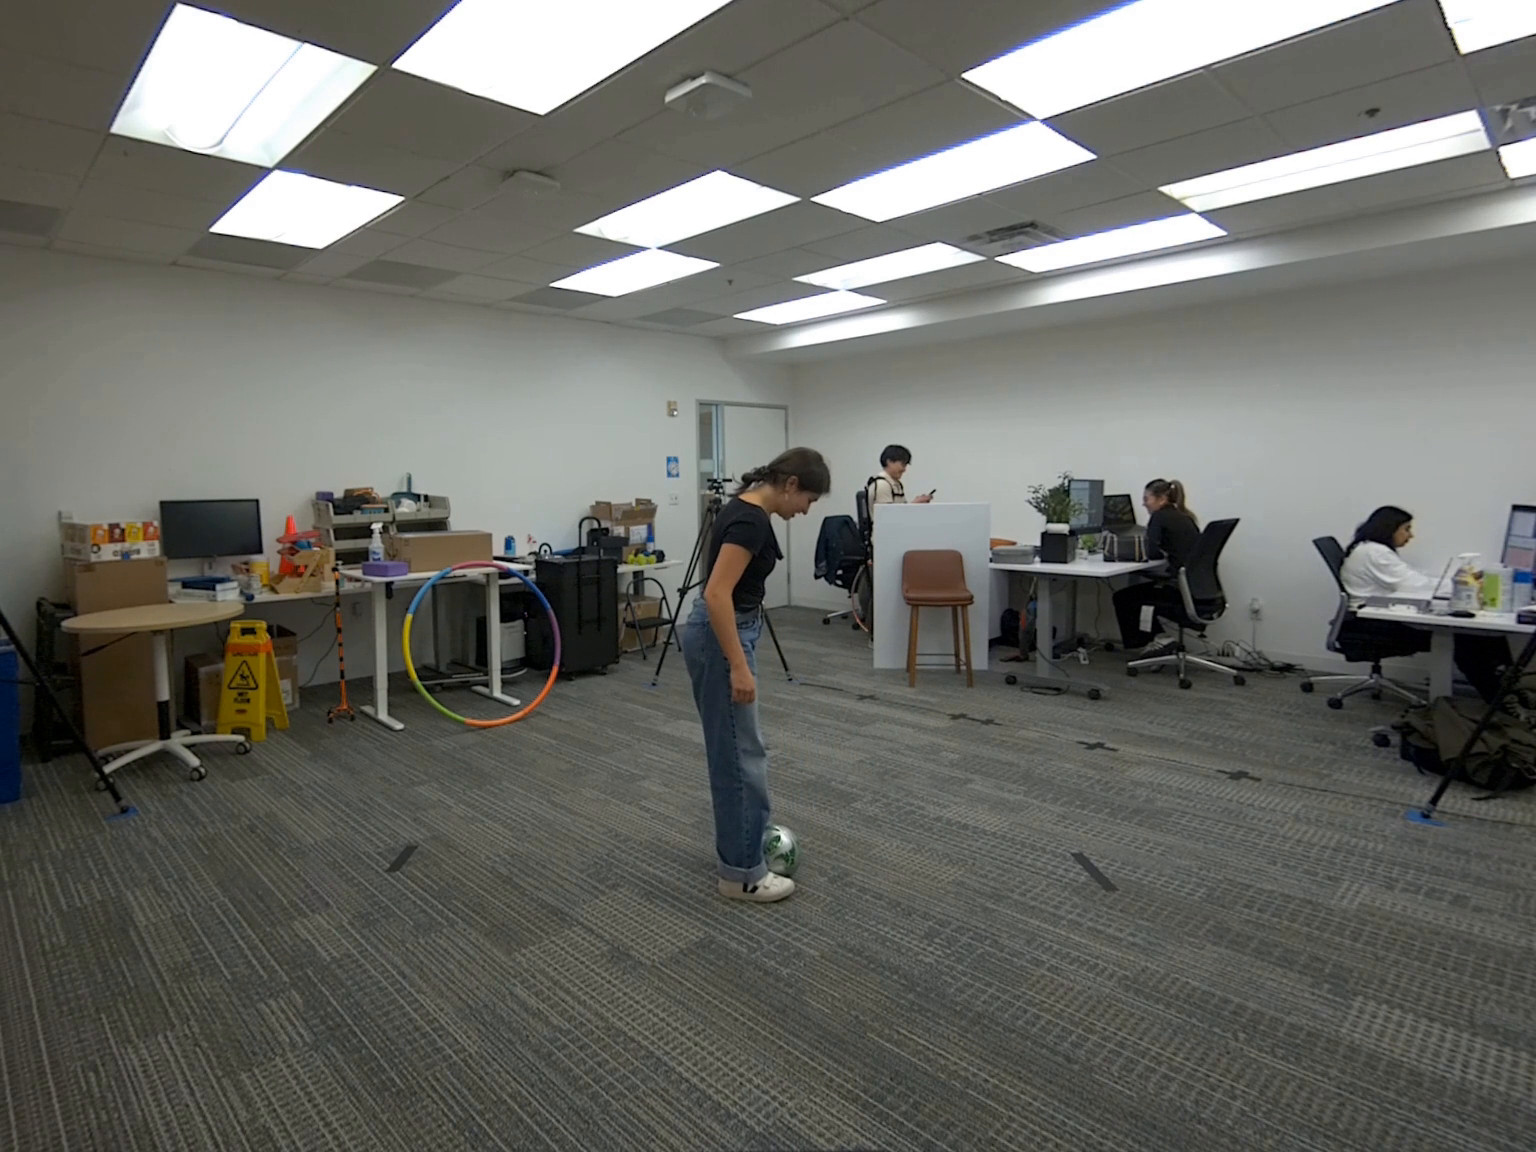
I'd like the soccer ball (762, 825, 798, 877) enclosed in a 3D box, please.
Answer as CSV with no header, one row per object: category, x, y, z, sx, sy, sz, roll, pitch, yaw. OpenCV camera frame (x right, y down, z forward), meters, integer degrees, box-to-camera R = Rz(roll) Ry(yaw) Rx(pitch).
soccer ball,0.026,0.972,2.987,0.187,0.187,0.188,-1,5,-2
